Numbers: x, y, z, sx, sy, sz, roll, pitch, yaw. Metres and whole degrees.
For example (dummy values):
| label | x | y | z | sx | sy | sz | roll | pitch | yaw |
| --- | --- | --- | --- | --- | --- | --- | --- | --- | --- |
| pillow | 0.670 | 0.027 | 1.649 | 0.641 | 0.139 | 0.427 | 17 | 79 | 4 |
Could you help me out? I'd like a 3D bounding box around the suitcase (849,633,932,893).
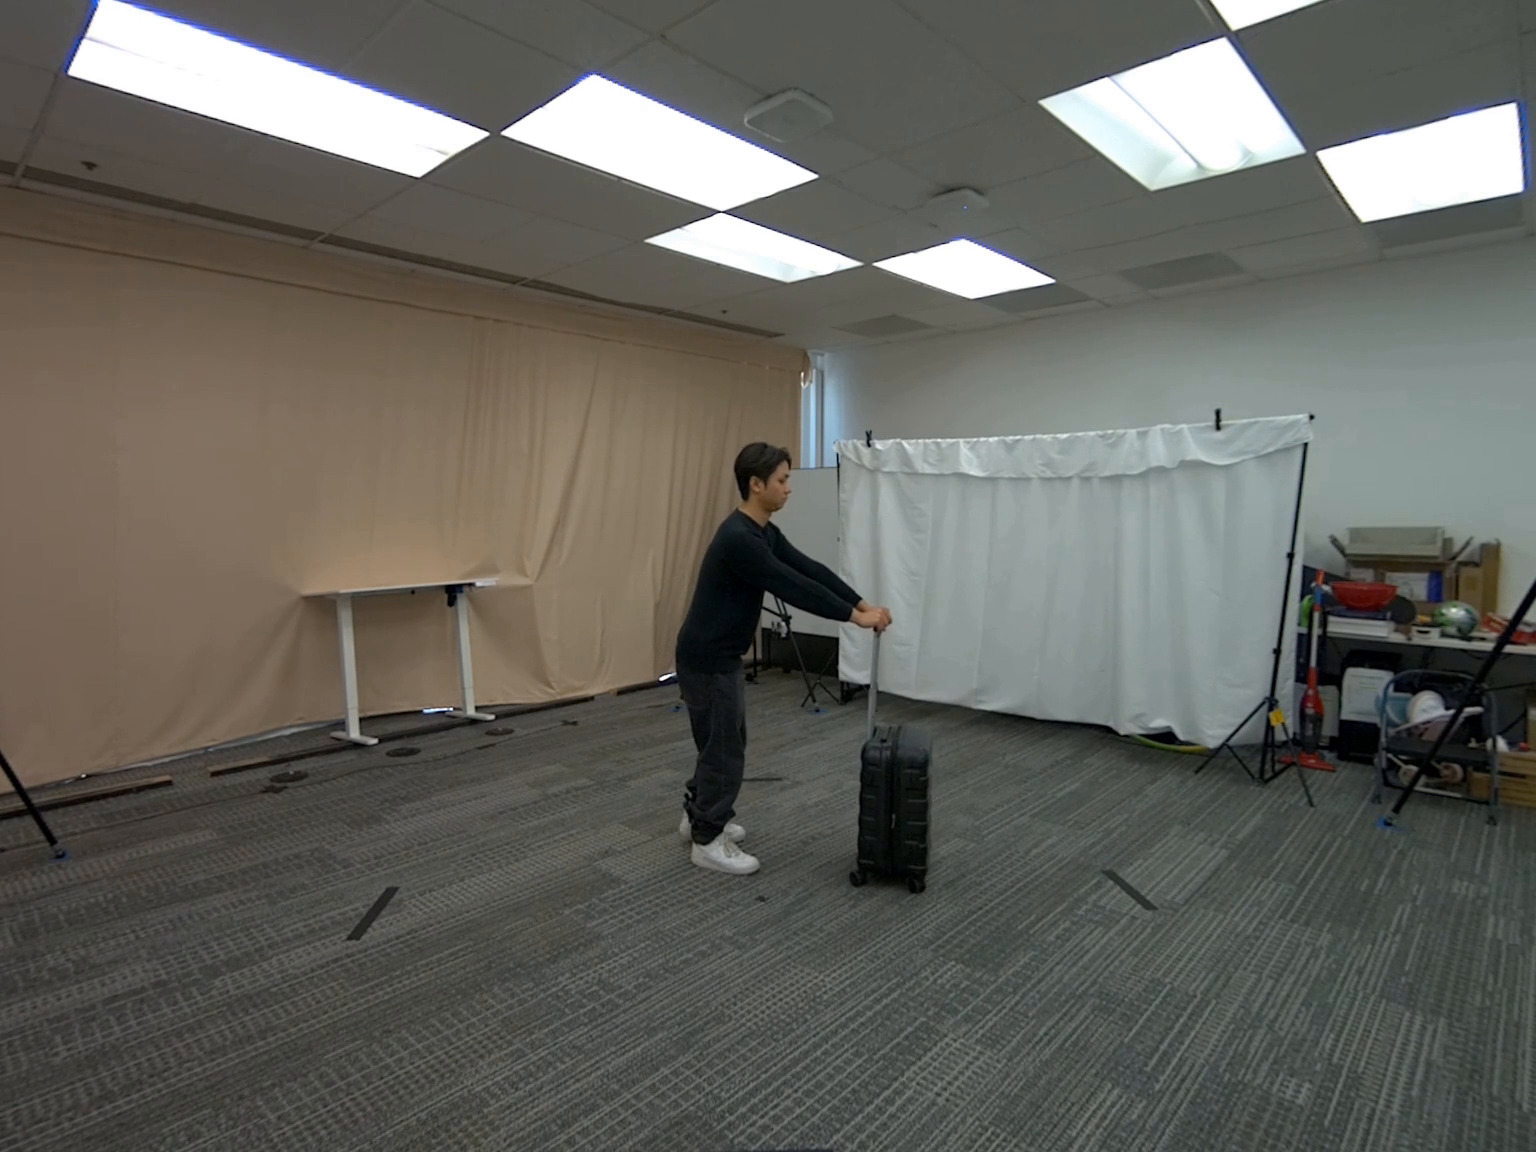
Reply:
| label | x | y | z | sx | sy | sz | roll | pitch | yaw |
| --- | --- | --- | --- | --- | --- | --- | --- | --- | --- |
| suitcase | 0.495 | 0.655 | 3.150 | 0.261 | 0.976 | 0.379 | 5 | 5 | 14 |
